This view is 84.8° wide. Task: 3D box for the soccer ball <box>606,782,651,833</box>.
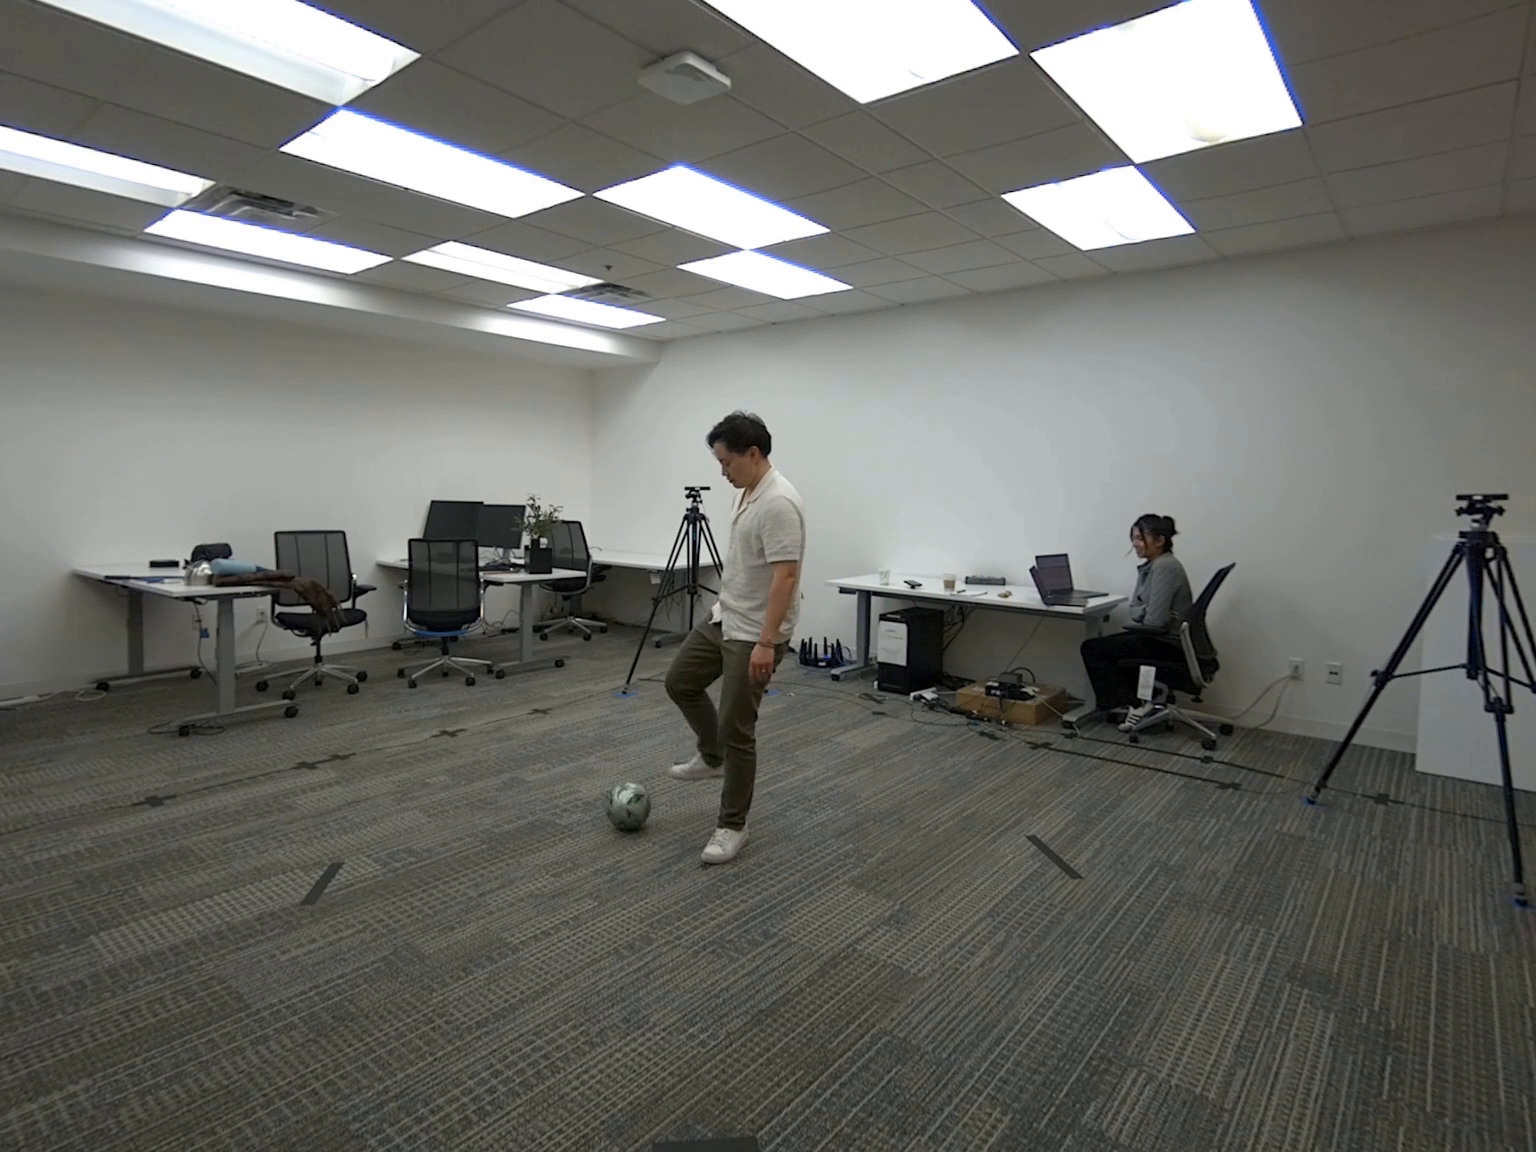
[{"bbox_3d":[-0.577,0.931,3.458,0.187,0.187,0.188,1,4,-2],"label":"soccer ball"}]
